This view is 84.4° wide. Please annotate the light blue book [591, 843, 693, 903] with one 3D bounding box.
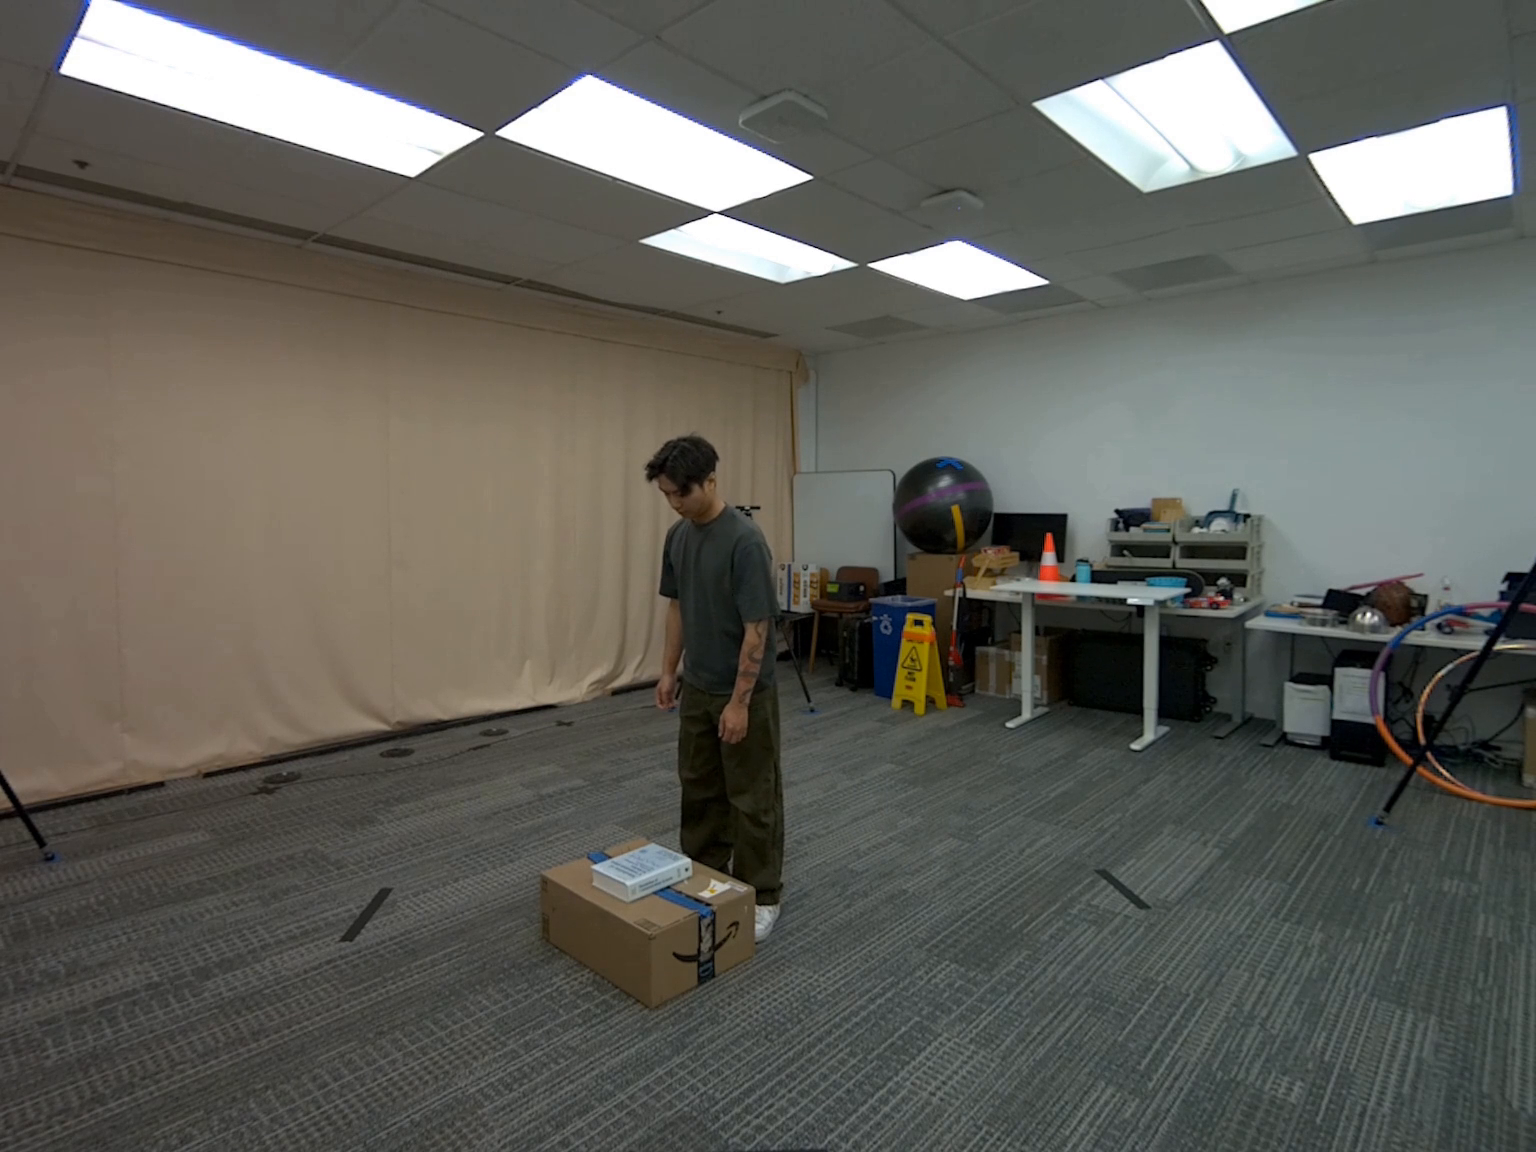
[{"bbox_3d":[-0.397,0.934,2.665,0.198,0.059,0.253,3,5,43],"label":"light blue book"}]
